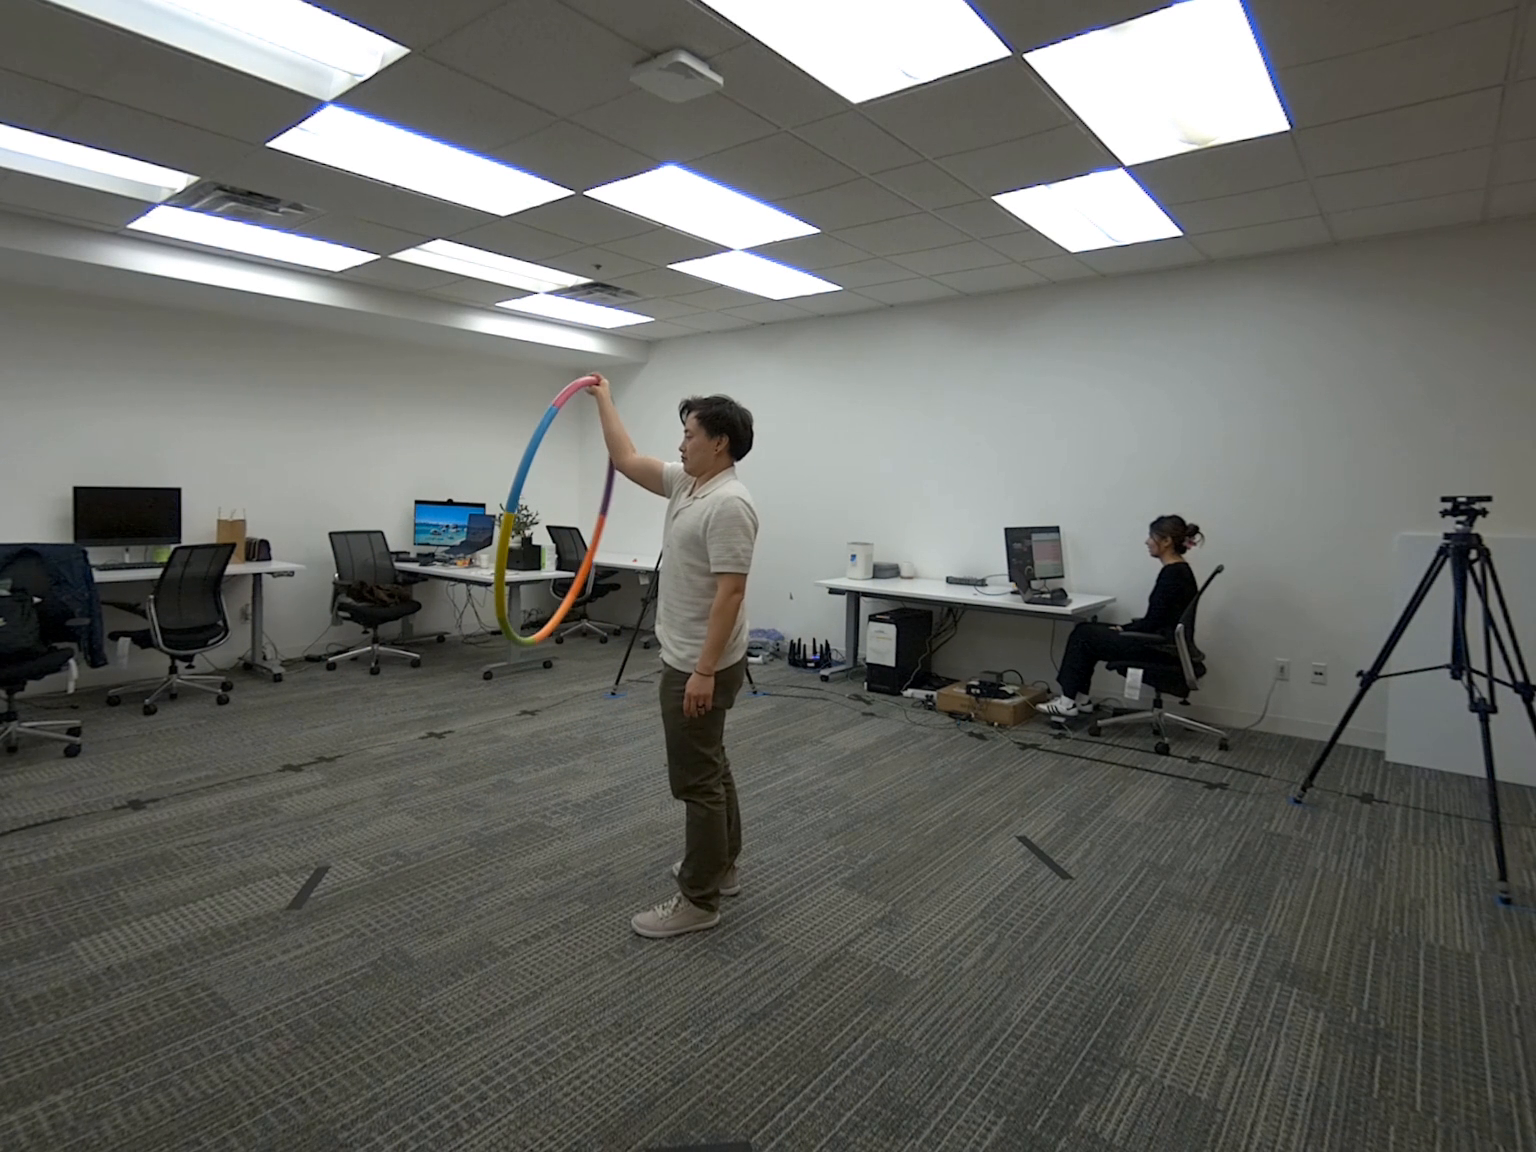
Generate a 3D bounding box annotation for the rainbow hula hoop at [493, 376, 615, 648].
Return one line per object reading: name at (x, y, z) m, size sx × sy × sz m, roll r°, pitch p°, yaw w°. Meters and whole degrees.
rainbow hula hoop at (-0.741, -0.218, 3.043) m, size 0.036 × 0.975 × 0.973 m, roll 14°, pitch 6°, yaw 5°
